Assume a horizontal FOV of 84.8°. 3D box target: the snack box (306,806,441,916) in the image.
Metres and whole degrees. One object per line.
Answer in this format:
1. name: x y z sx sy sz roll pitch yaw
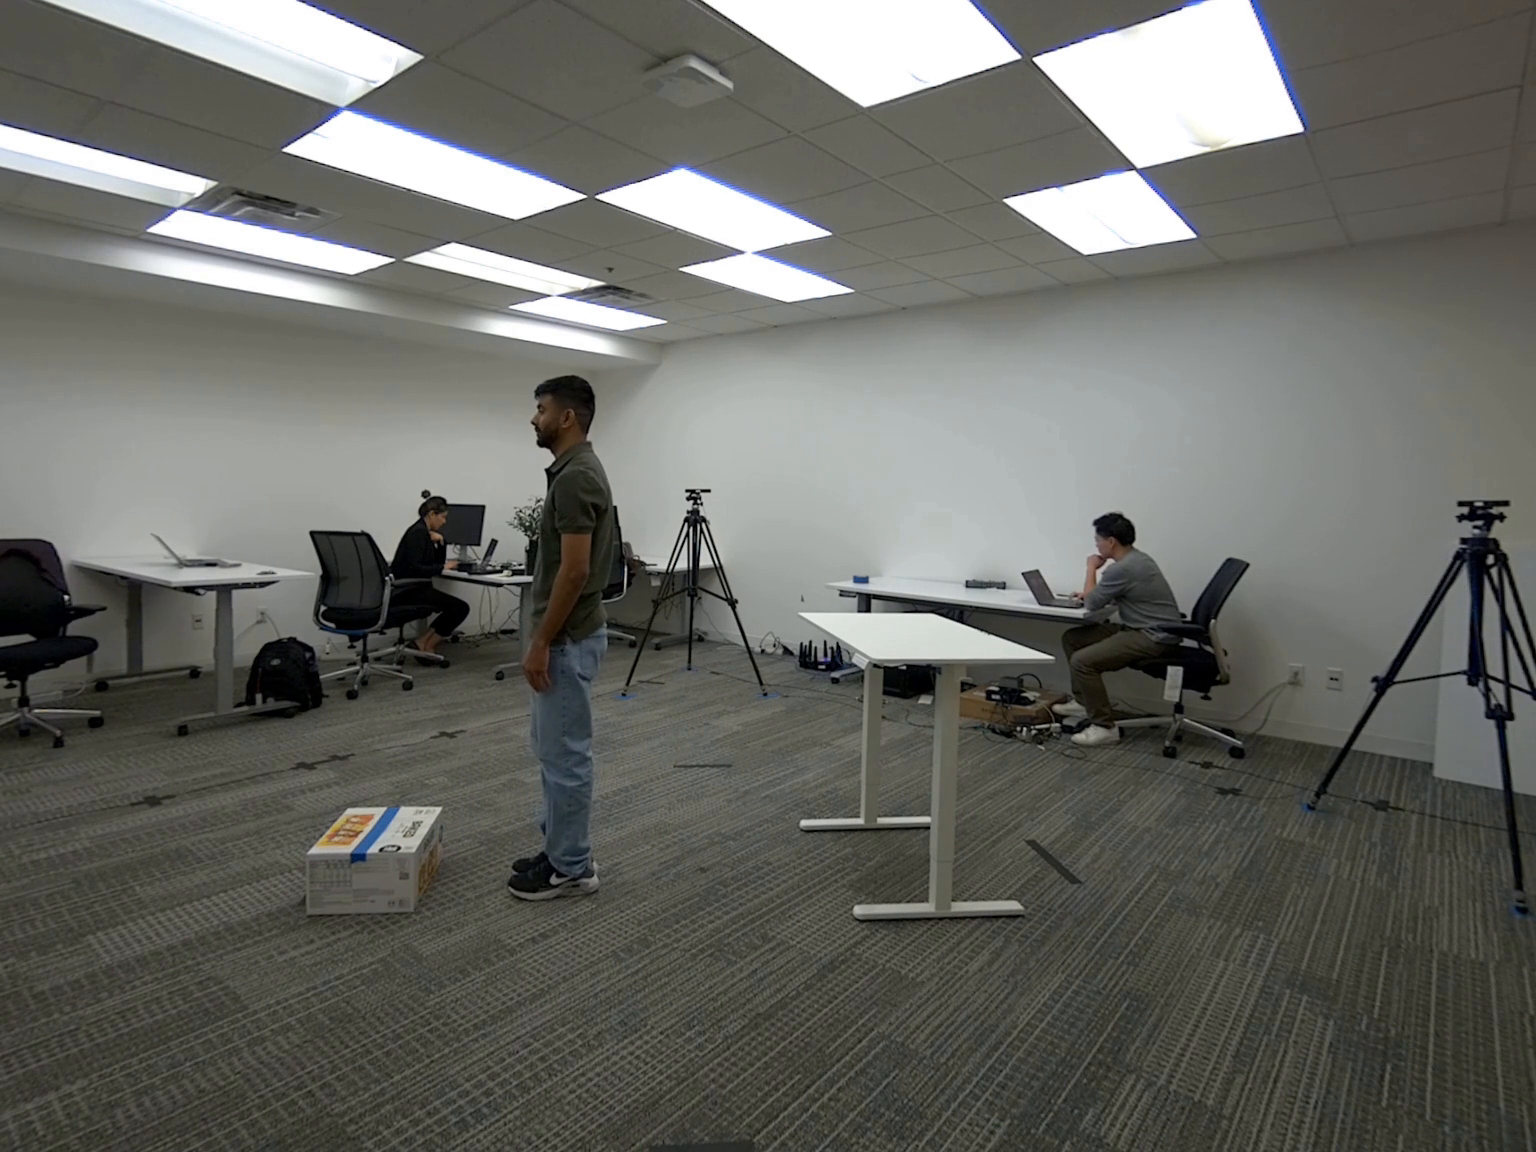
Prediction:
1. snack box: -1.359 0.974 2.938 0.338 0.205 0.410 0 5 -7
